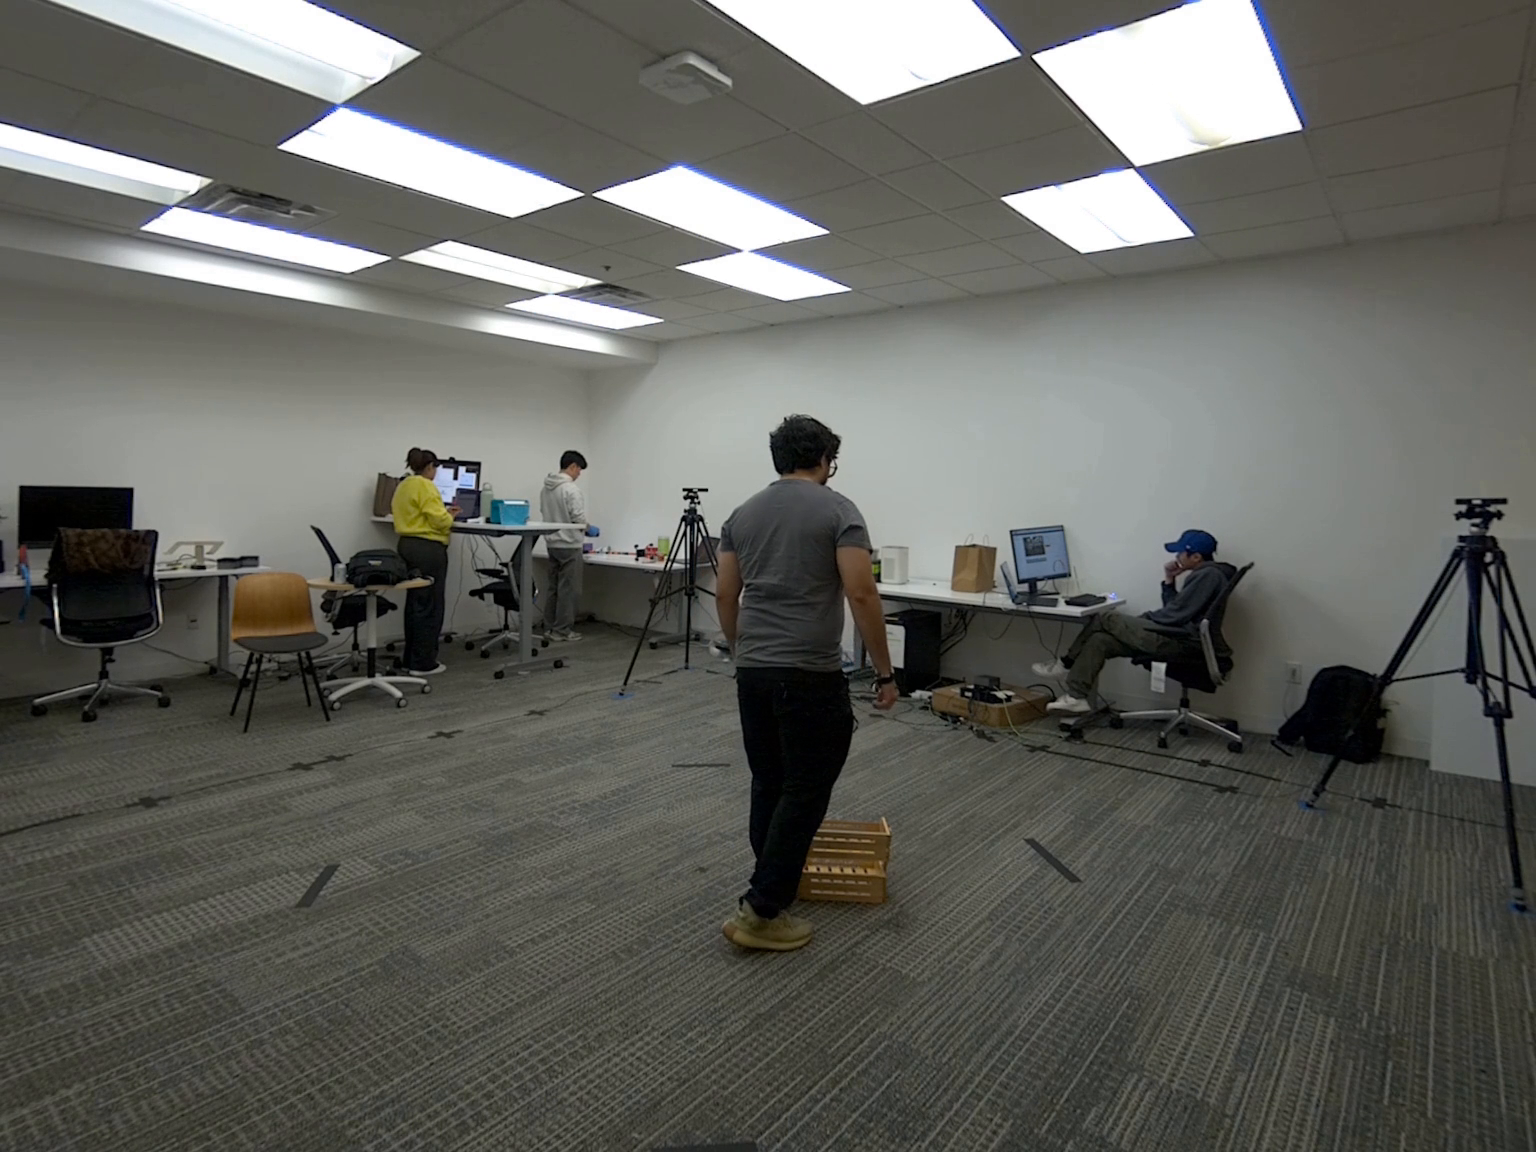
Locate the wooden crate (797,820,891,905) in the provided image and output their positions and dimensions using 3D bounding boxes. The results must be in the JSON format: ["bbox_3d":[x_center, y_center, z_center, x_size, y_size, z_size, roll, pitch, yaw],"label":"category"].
[{"bbox_3d":[0.252,0.964,2.990,0.325,0.273,0.302,1,3,1],"label":"wooden crate"}]
